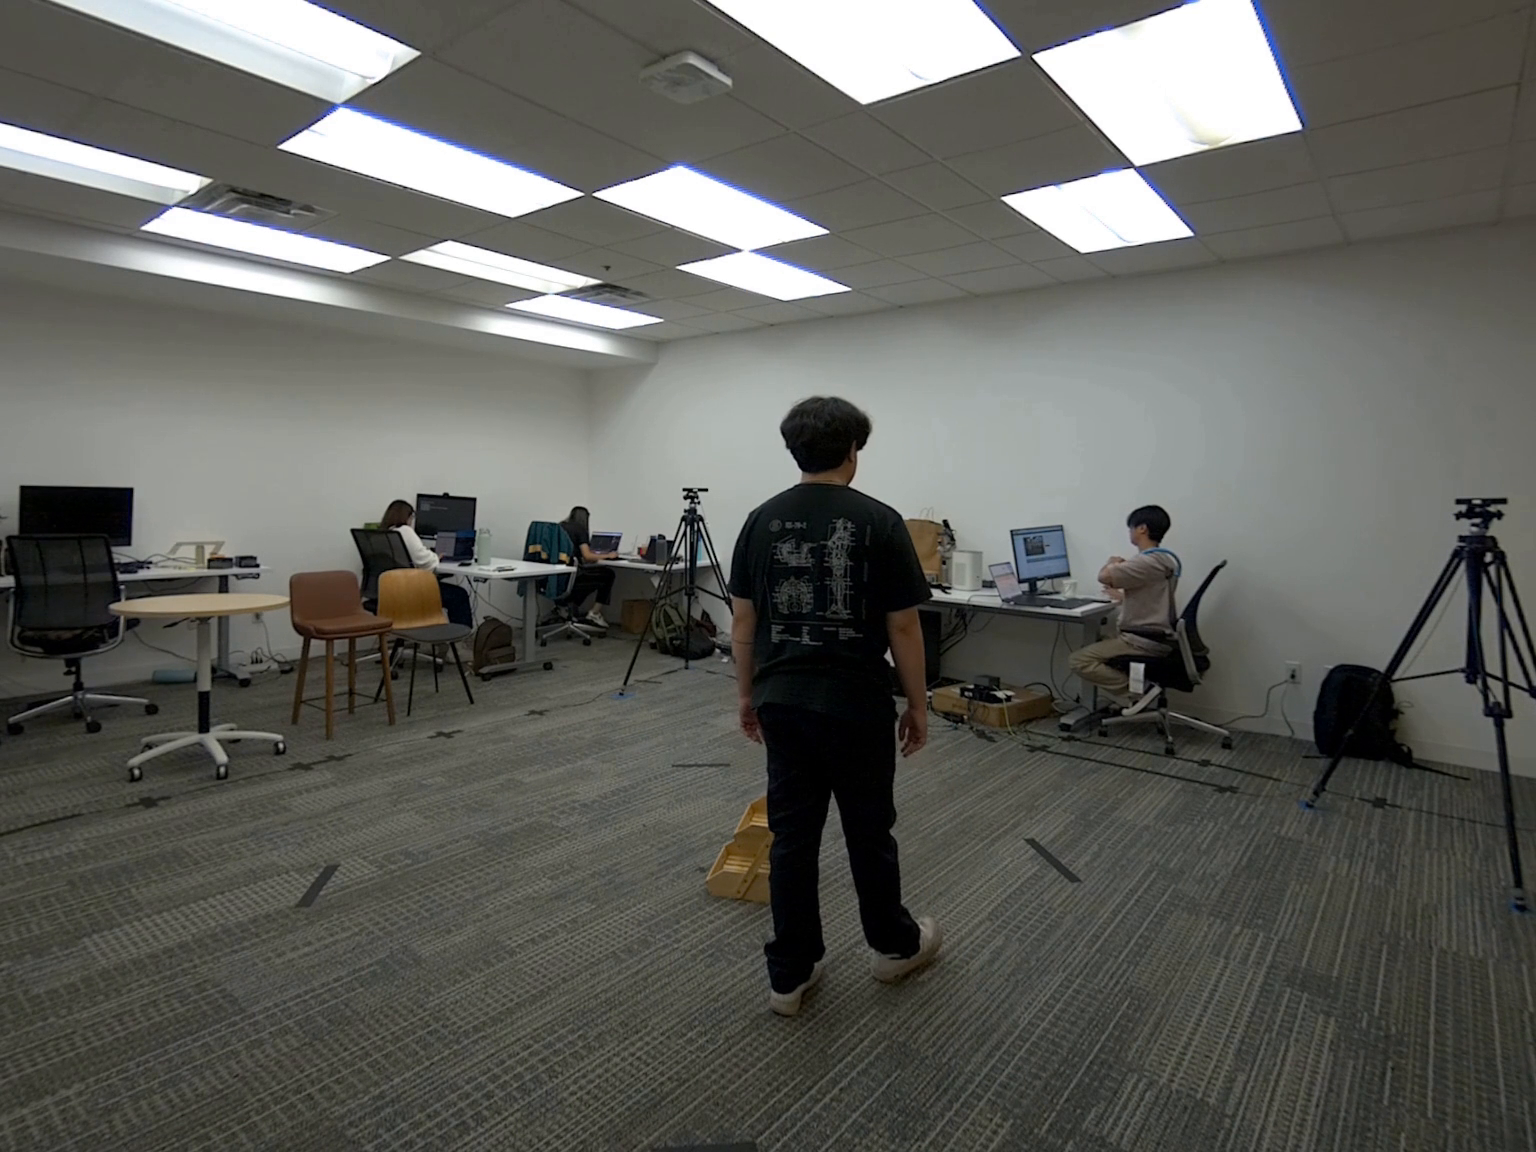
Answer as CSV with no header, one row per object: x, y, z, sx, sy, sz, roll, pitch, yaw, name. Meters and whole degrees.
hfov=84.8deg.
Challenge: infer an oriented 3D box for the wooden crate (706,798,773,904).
-0.055,0.948,3.019,0.305,0.272,0.322,3,4,9,wooden crate
